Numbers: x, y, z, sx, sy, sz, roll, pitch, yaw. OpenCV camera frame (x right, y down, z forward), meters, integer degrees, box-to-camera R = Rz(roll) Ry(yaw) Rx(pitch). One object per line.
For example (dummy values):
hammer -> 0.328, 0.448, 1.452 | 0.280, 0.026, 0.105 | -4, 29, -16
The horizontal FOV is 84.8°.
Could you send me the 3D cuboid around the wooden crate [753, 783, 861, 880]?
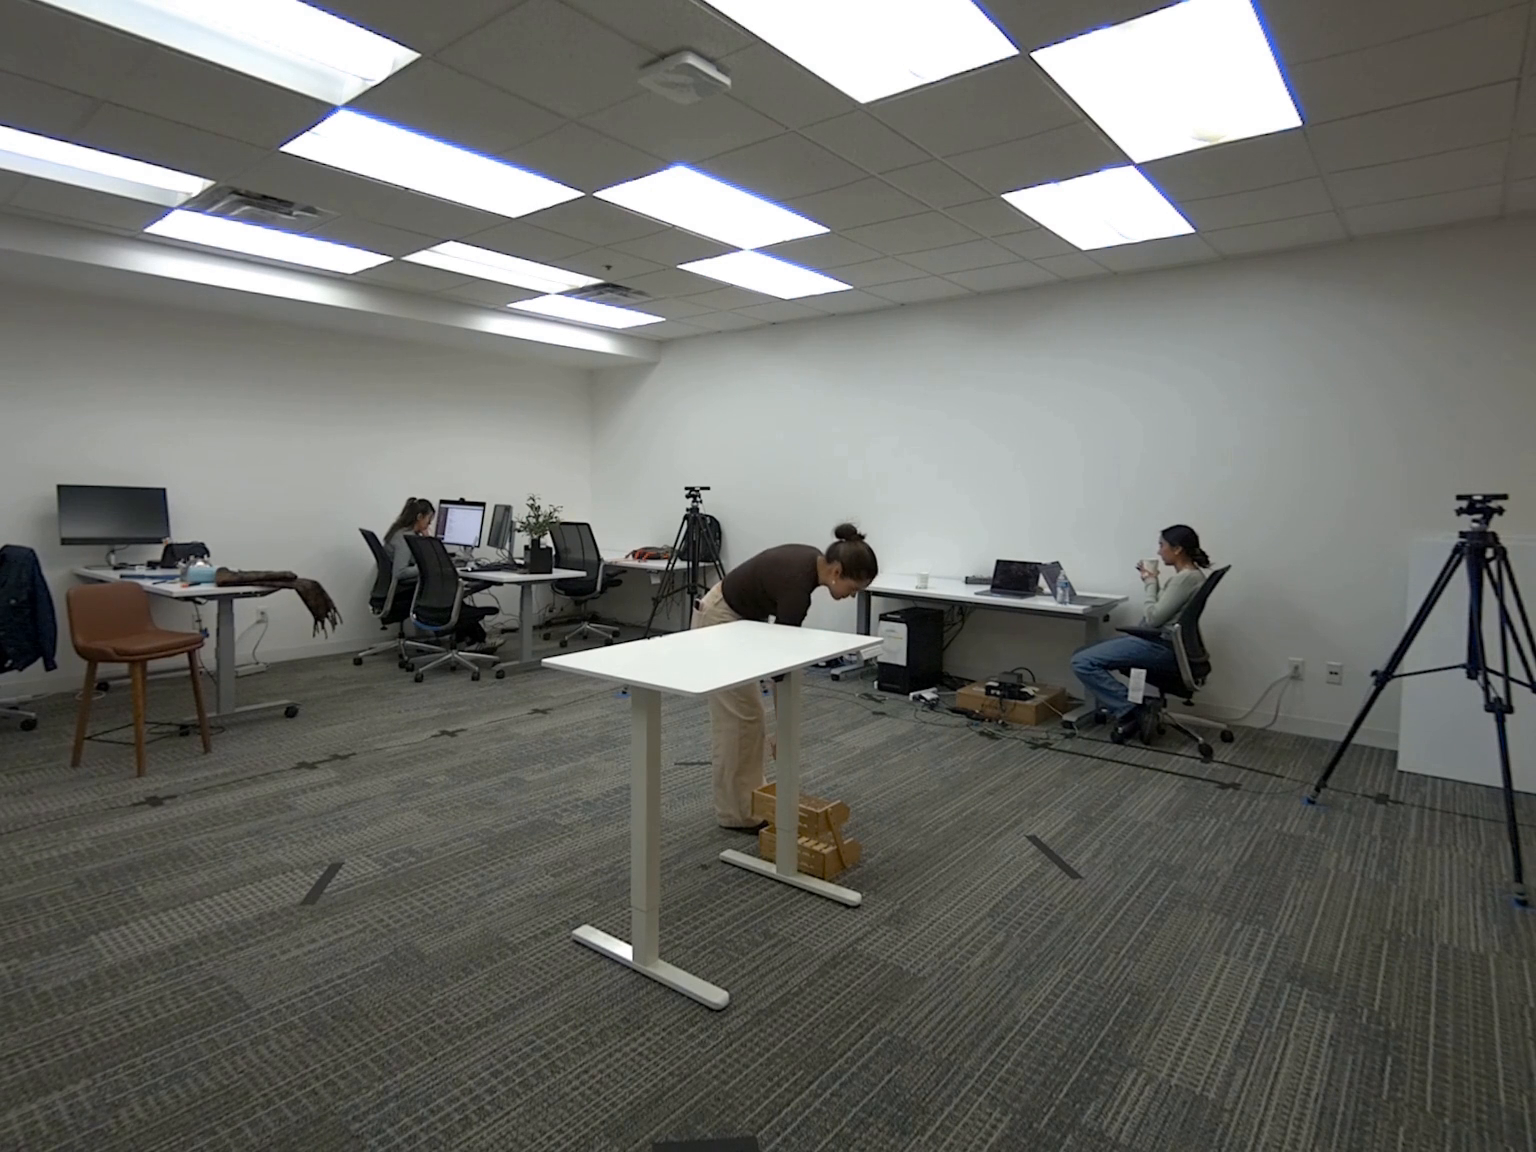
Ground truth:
wooden crate -> 0.136, 0.928, 3.200 | 0.335, 0.272, 0.293 | 5, 6, 38
